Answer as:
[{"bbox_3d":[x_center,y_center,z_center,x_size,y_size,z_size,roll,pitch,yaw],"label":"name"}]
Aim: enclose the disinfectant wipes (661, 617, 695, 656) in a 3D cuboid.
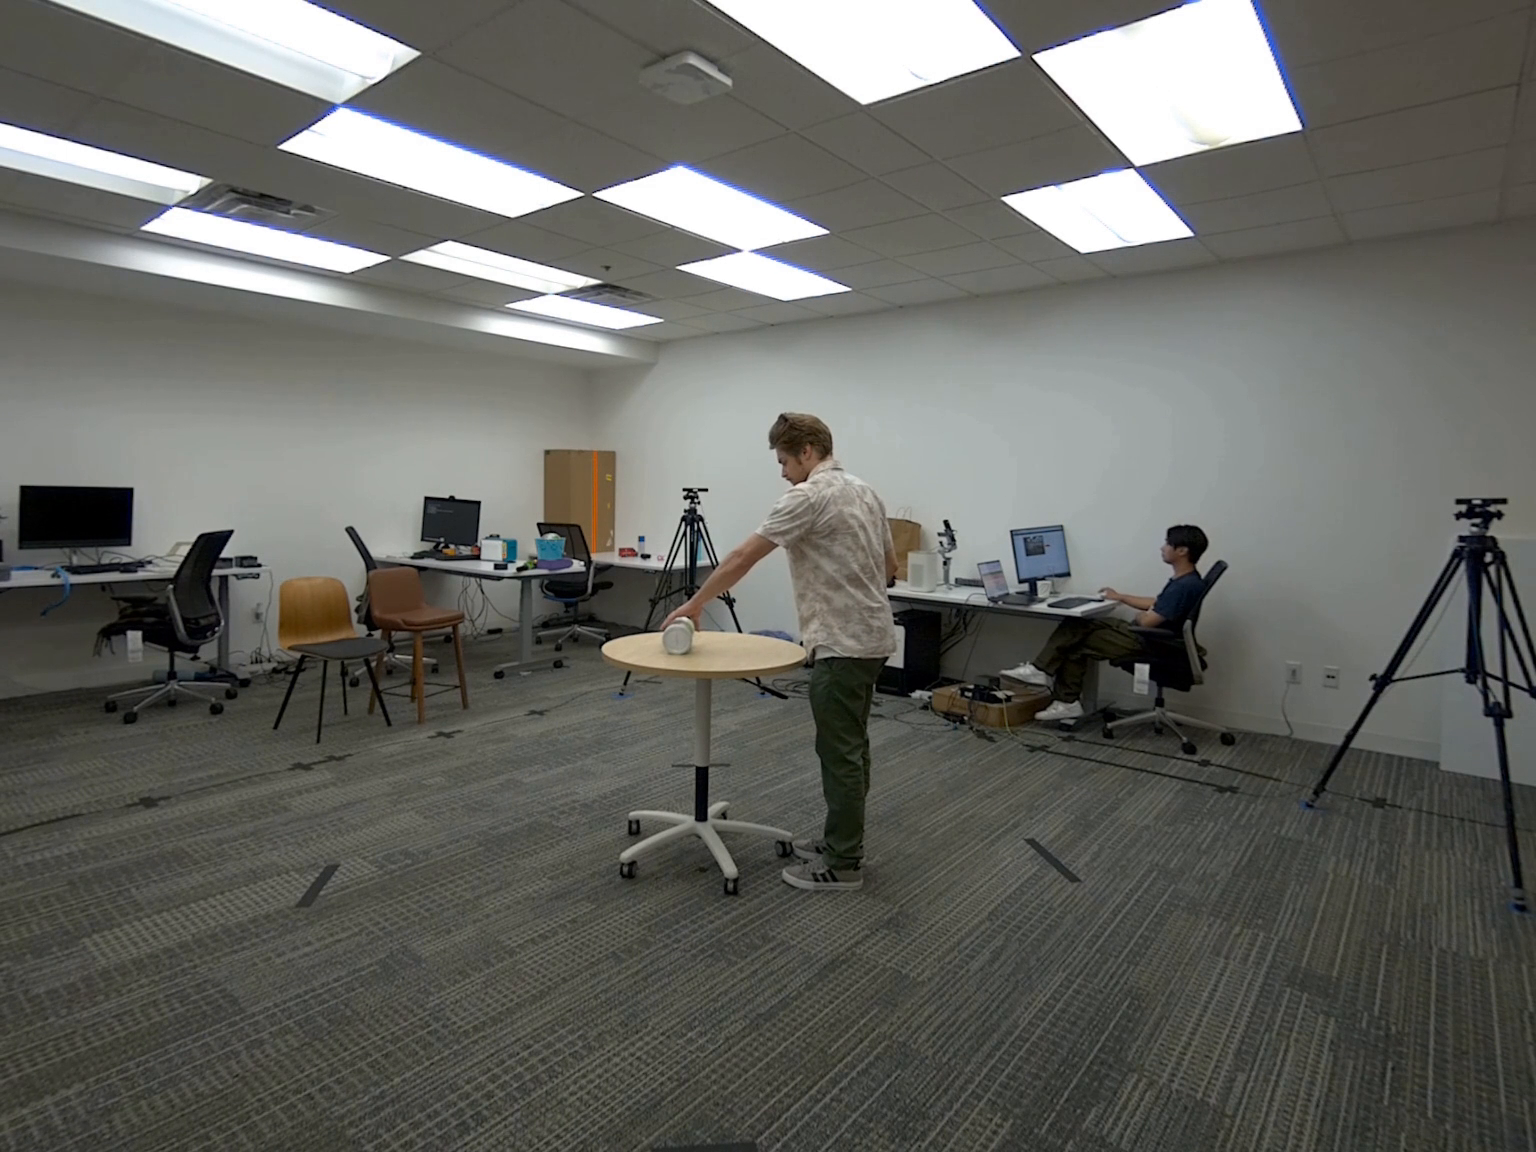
[{"bbox_3d":[-0.342,0.214,3.166,0.117,0.117,0.218,1,3,-3],"label":"disinfectant wipes"}]
